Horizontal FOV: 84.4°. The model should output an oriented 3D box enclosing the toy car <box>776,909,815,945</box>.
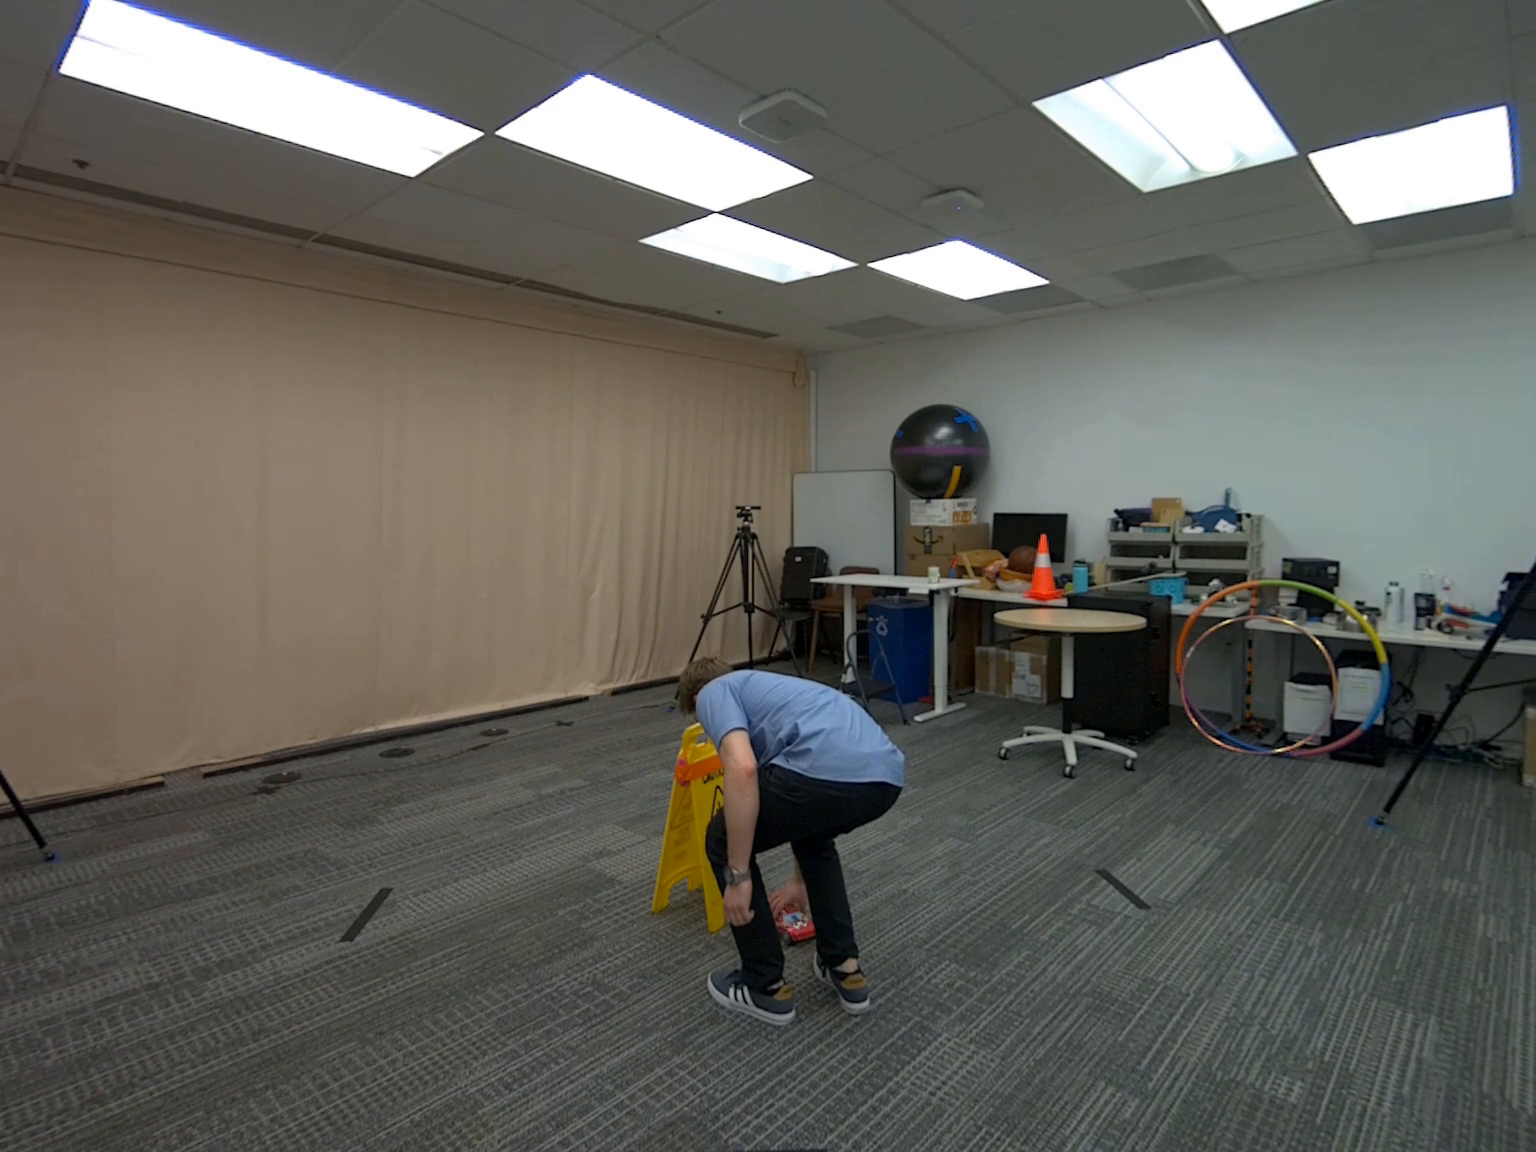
[{"bbox_3d":[0.060,1.130,2.771,0.127,0.082,0.263,-5,17,-29],"label":"toy car"}]
